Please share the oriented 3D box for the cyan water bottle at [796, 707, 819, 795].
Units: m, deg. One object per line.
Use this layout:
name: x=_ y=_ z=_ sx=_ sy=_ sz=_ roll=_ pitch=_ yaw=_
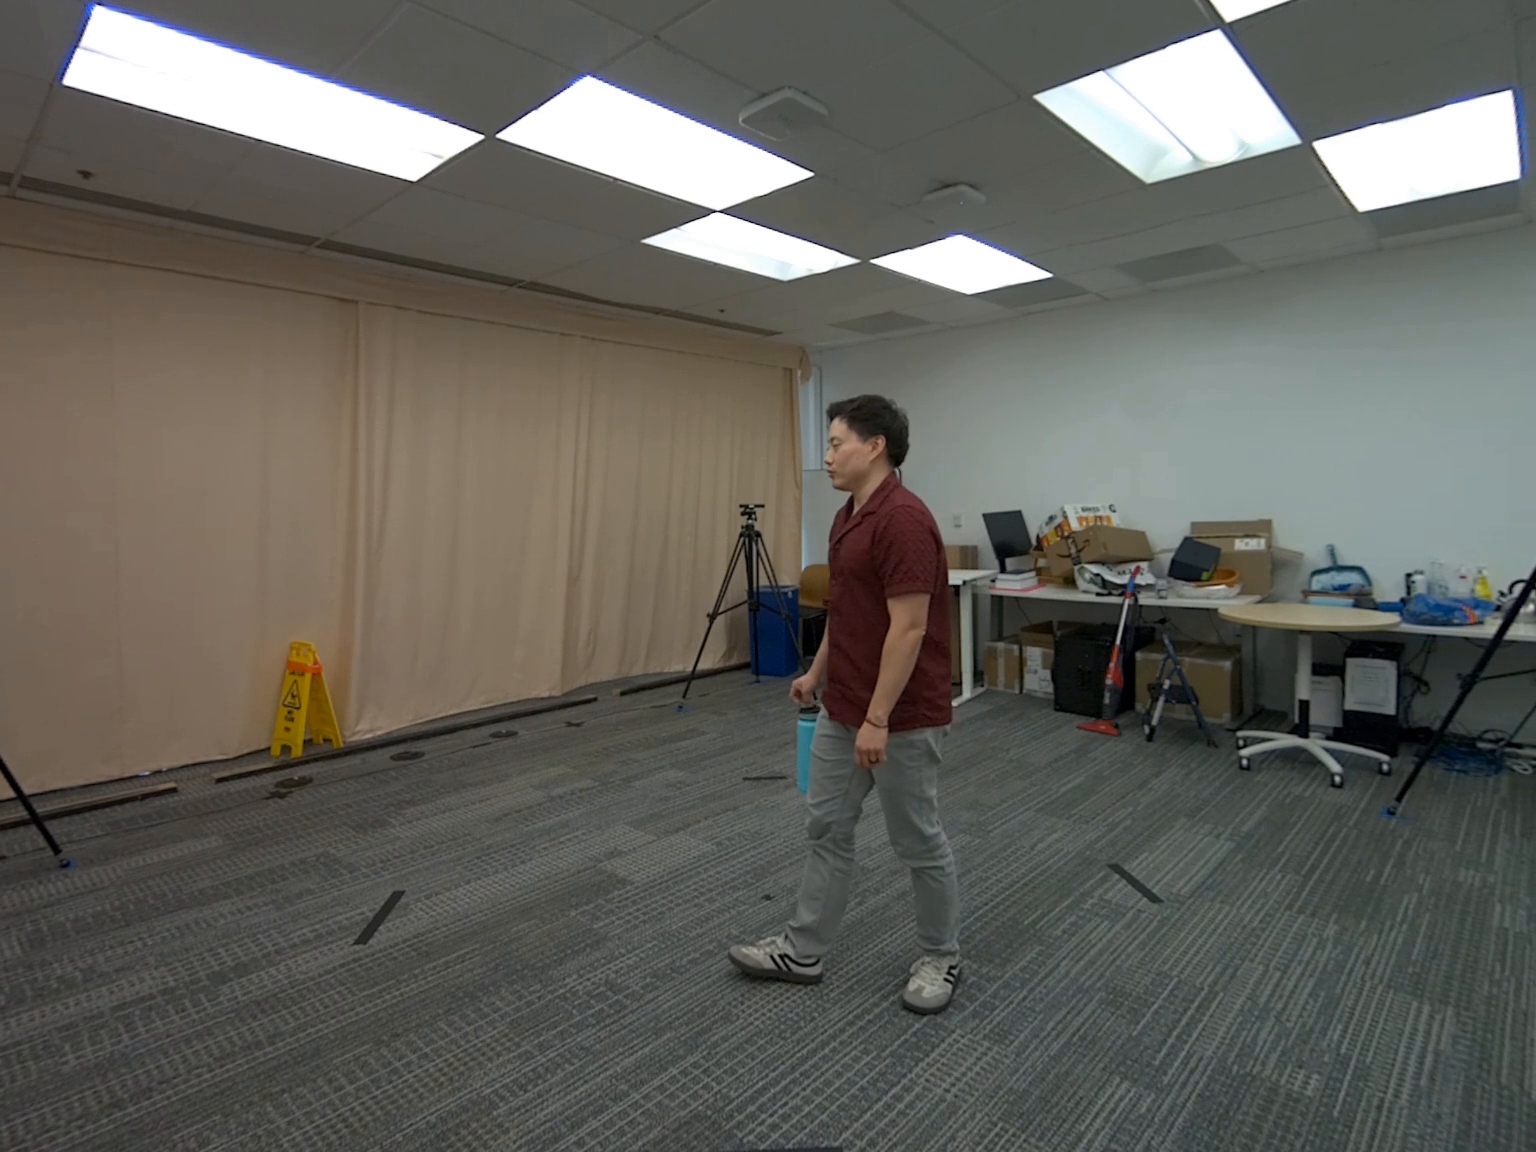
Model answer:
cyan water bottle: x=0.142 y=0.545 z=2.657 sx=0.092 sy=0.284 sz=0.092 roll=-2 pitch=-3 yaw=-2
